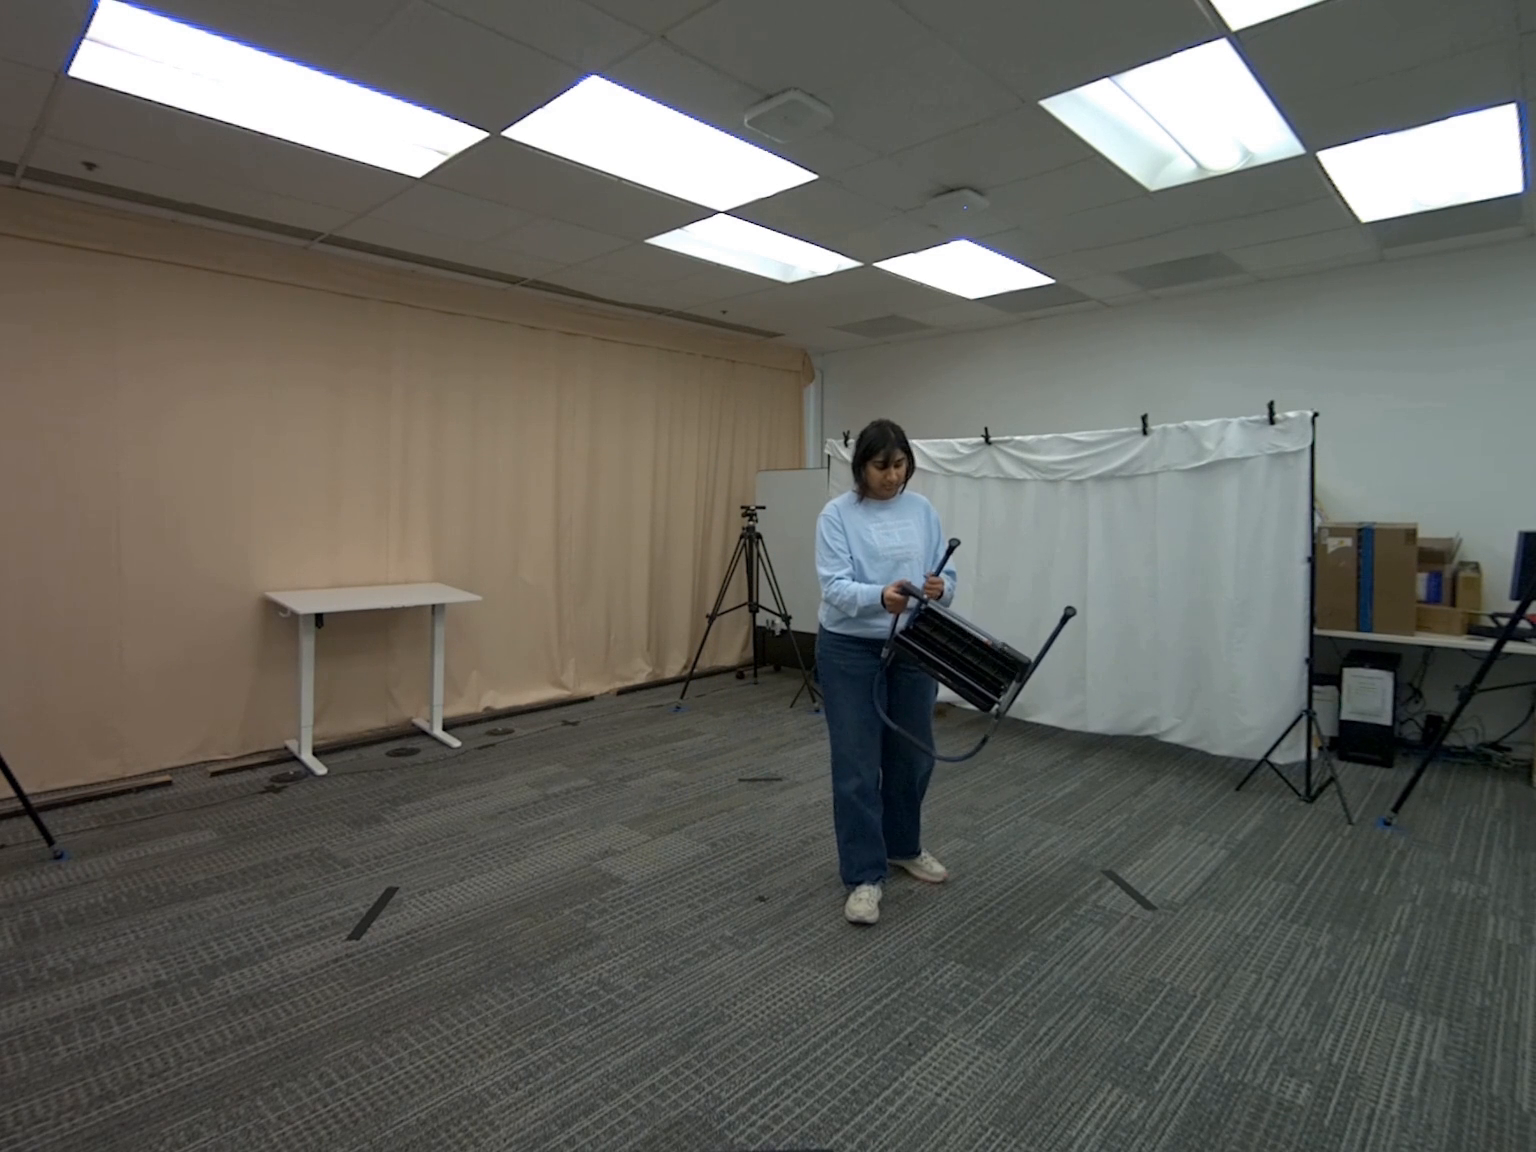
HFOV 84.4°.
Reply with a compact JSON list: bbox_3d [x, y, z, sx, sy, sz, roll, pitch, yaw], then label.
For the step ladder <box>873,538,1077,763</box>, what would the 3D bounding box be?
[{"bbox_3d":[0.595,0.287,2.650,0.443,0.600,0.343,35,42,25],"label":"step ladder"}]
